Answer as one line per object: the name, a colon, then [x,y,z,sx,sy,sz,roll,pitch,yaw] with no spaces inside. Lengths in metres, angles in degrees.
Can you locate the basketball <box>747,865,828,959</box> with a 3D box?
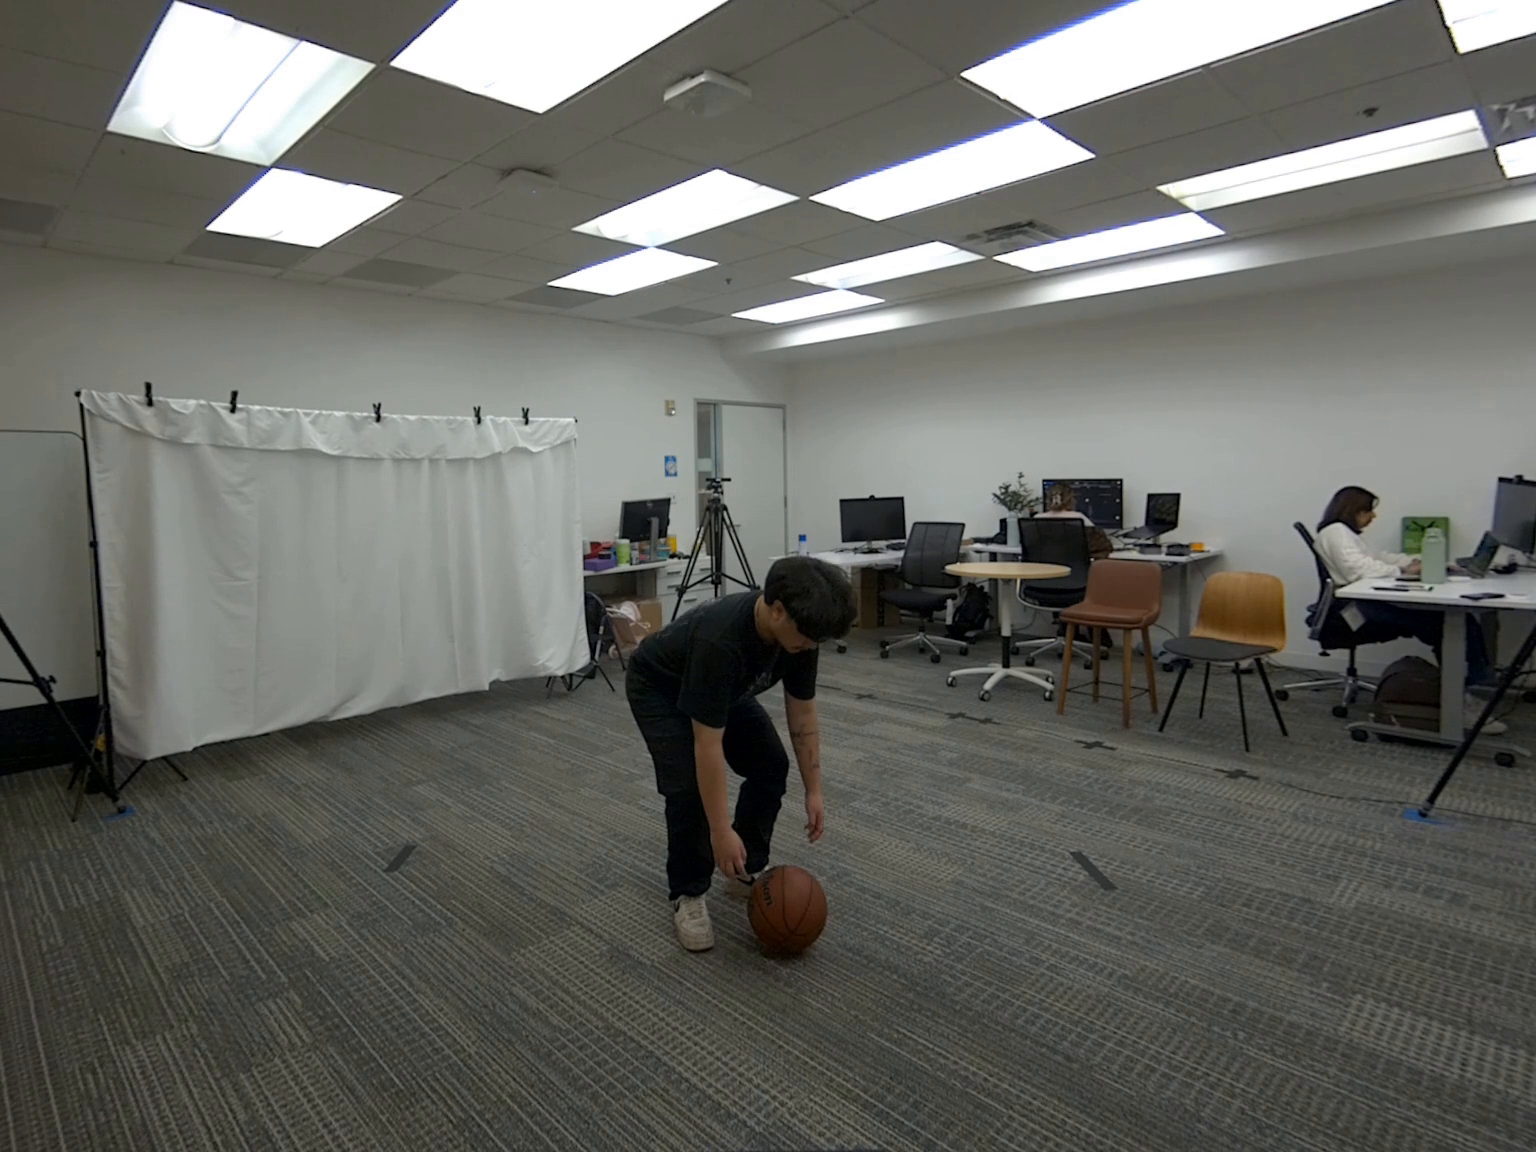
basketball: [0.067,0.987,2.534,0.236,0.235,0.237,-1,5,-2]
